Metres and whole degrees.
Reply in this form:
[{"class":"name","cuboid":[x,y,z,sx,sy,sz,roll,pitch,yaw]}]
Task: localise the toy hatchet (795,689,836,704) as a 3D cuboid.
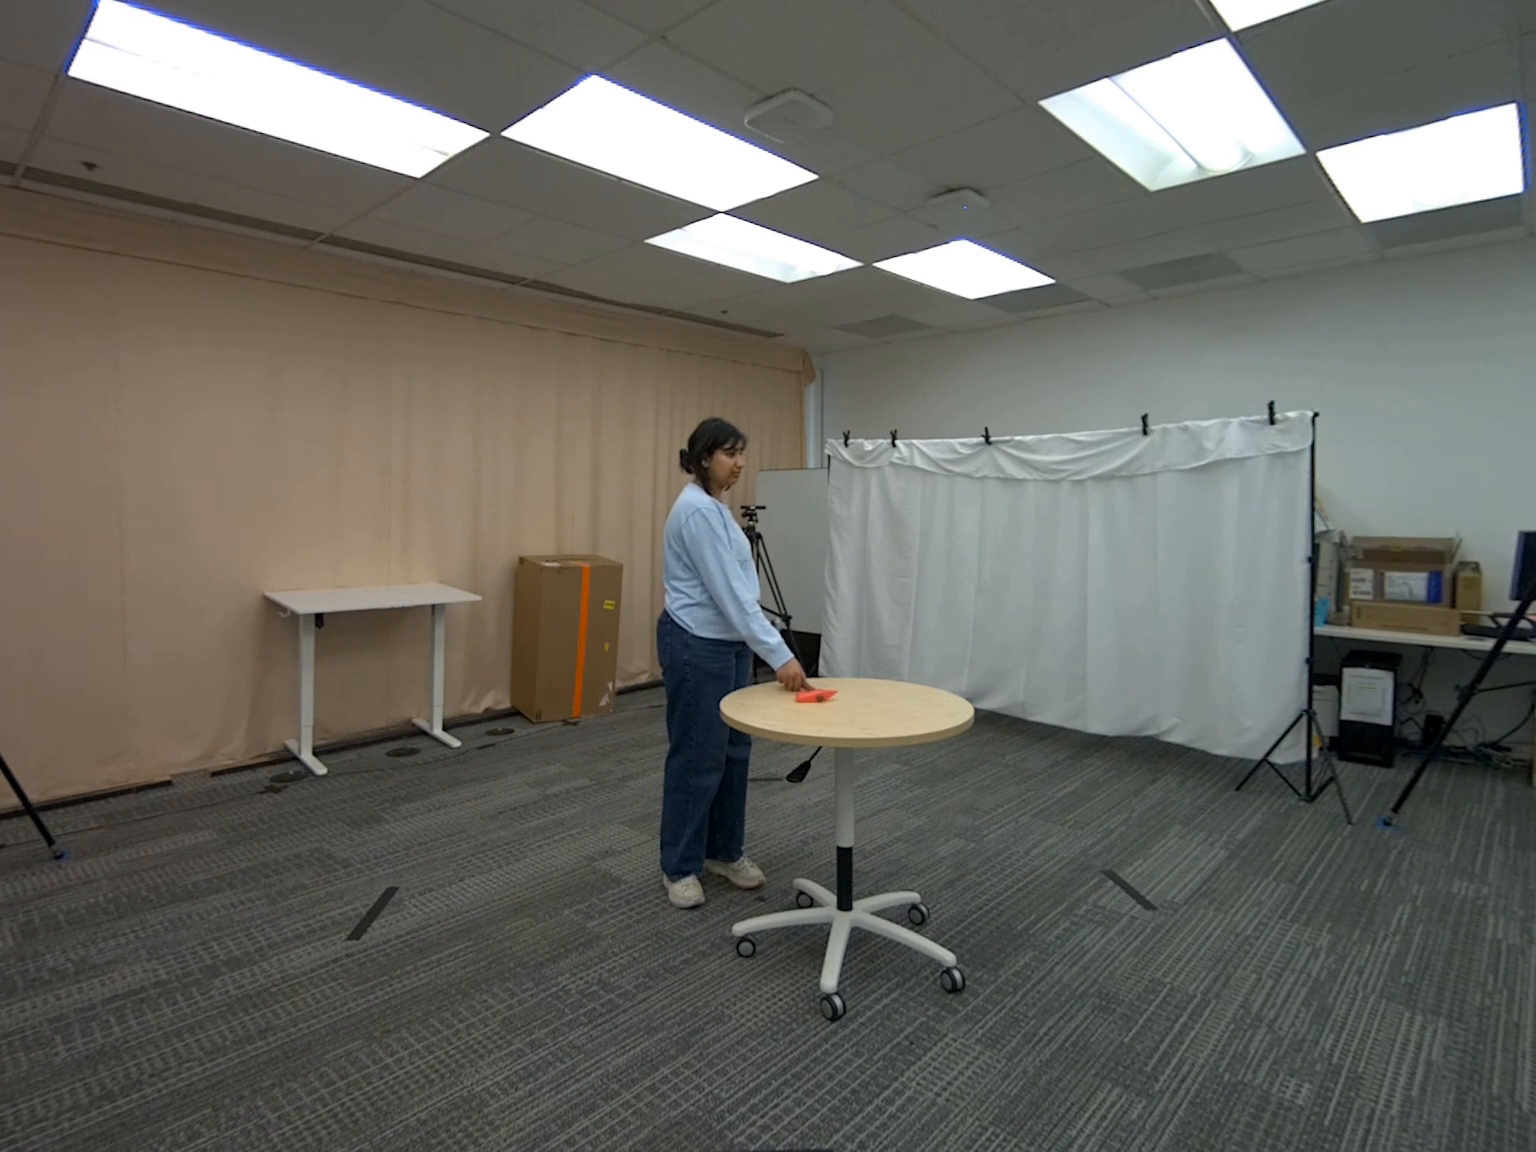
[{"class":"toy hatchet","cuboid":[0.103,0.369,2.712,0.128,0.029,0.278,-15,11,-32]}]
